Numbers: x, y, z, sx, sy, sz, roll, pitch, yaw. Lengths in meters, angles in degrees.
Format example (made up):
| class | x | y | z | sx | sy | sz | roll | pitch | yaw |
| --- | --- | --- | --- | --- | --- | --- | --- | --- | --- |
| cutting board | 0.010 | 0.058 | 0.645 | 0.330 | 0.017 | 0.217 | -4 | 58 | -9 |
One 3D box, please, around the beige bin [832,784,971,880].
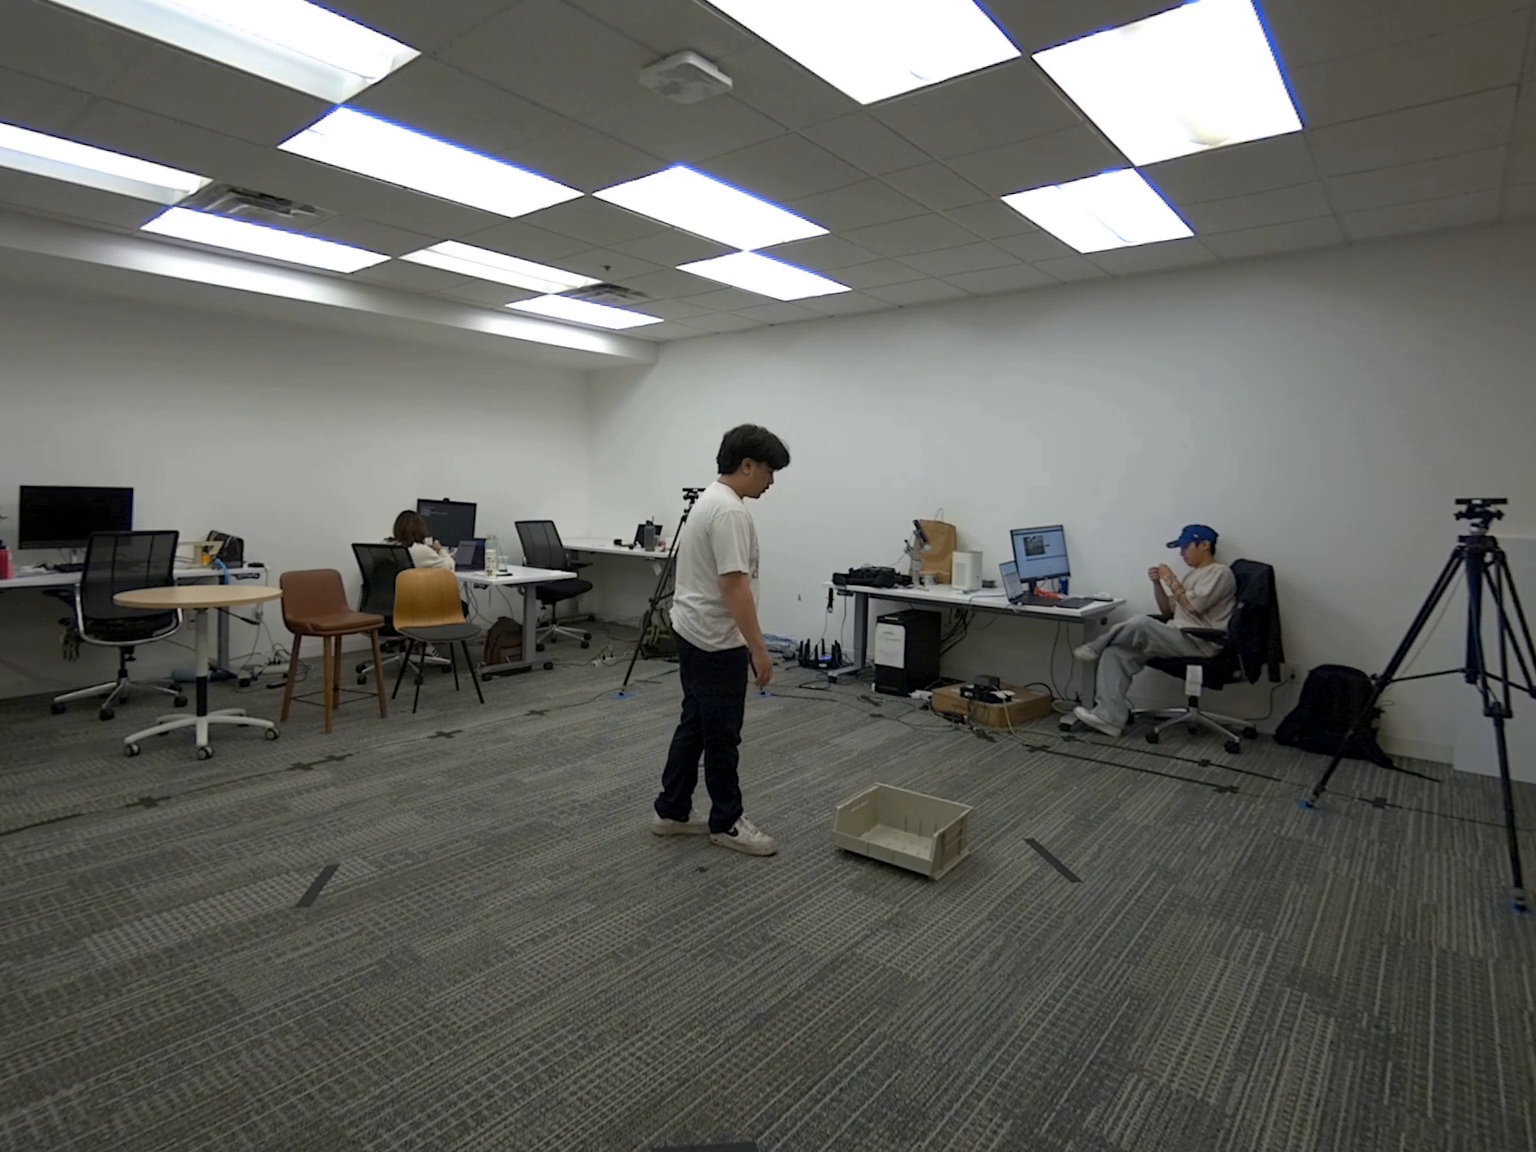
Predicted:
| class | x | y | z | sx | sy | sz | roll | pitch | yaw |
| --- | --- | --- | --- | --- | --- | --- | --- | --- | --- |
| beige bin | 0.510 | 0.980 | 3.291 | 0.436 | 0.188 | 0.366 | 4 | 5 | 36 |
